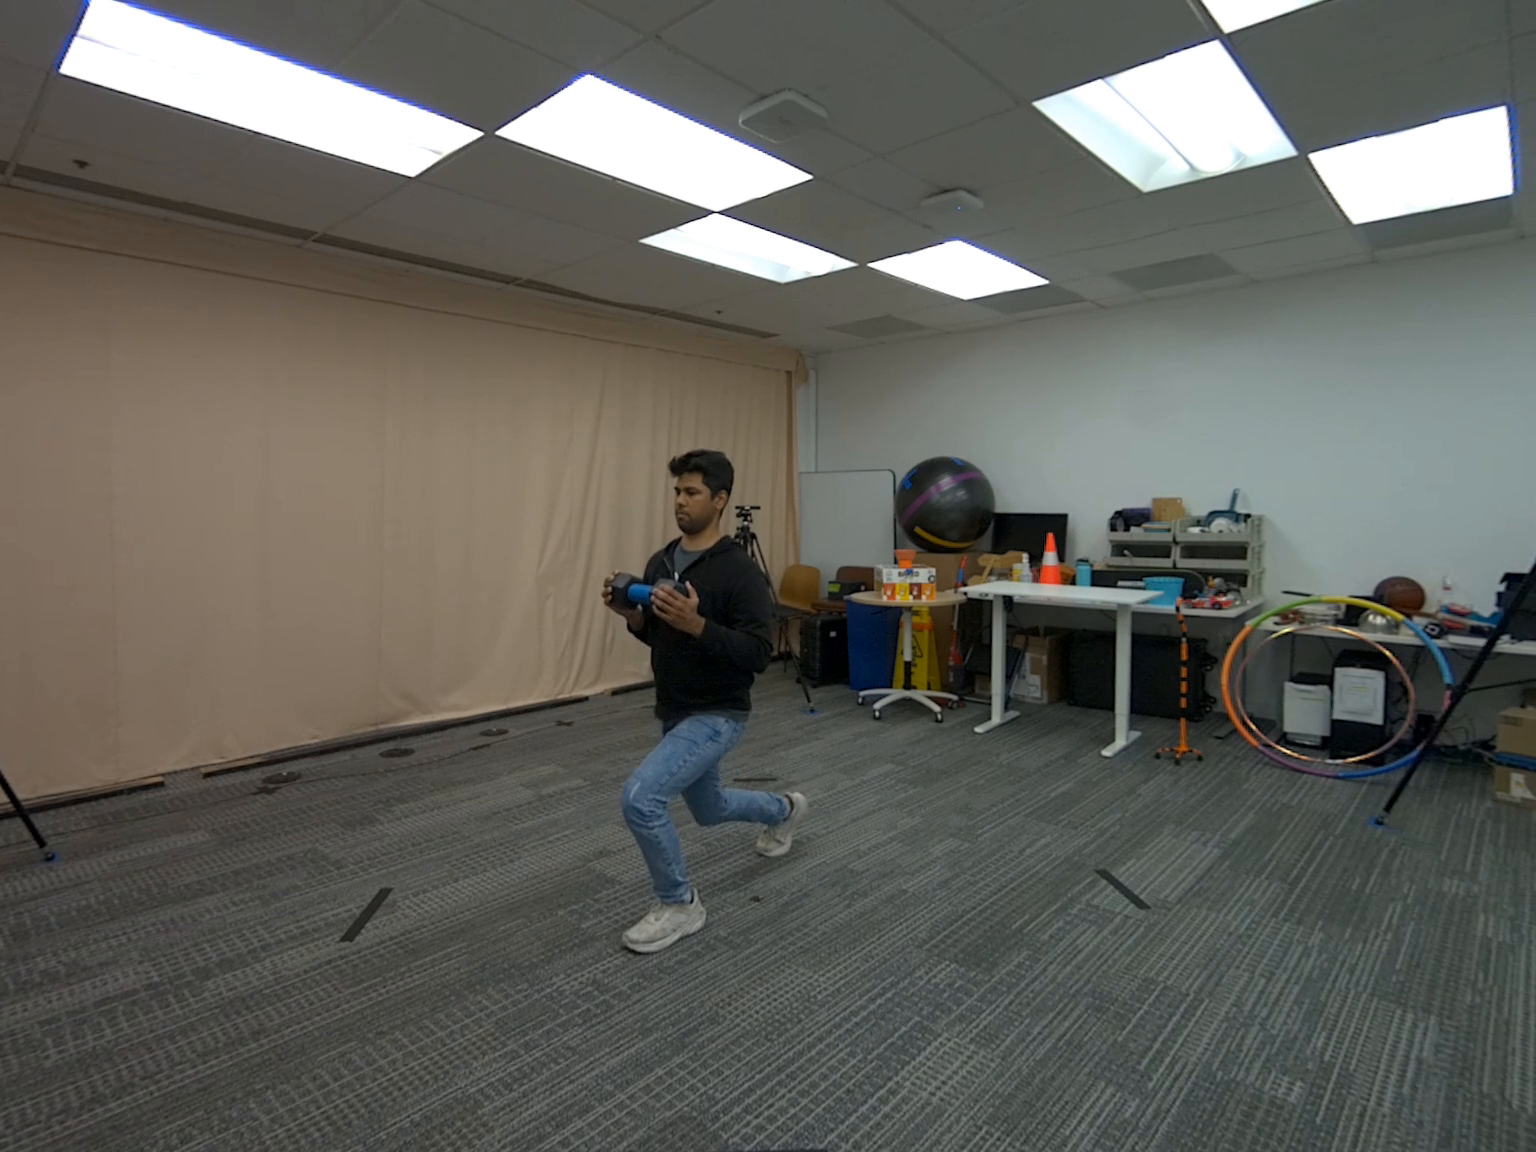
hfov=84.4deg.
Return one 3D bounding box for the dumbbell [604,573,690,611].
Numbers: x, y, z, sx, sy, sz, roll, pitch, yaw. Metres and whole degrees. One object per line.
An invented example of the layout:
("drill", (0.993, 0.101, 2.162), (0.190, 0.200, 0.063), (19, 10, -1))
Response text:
("dumbbell", (-0.380, 0.061, 2.674), (0.304, 0.122, 0.106), (7, 18, 41))
